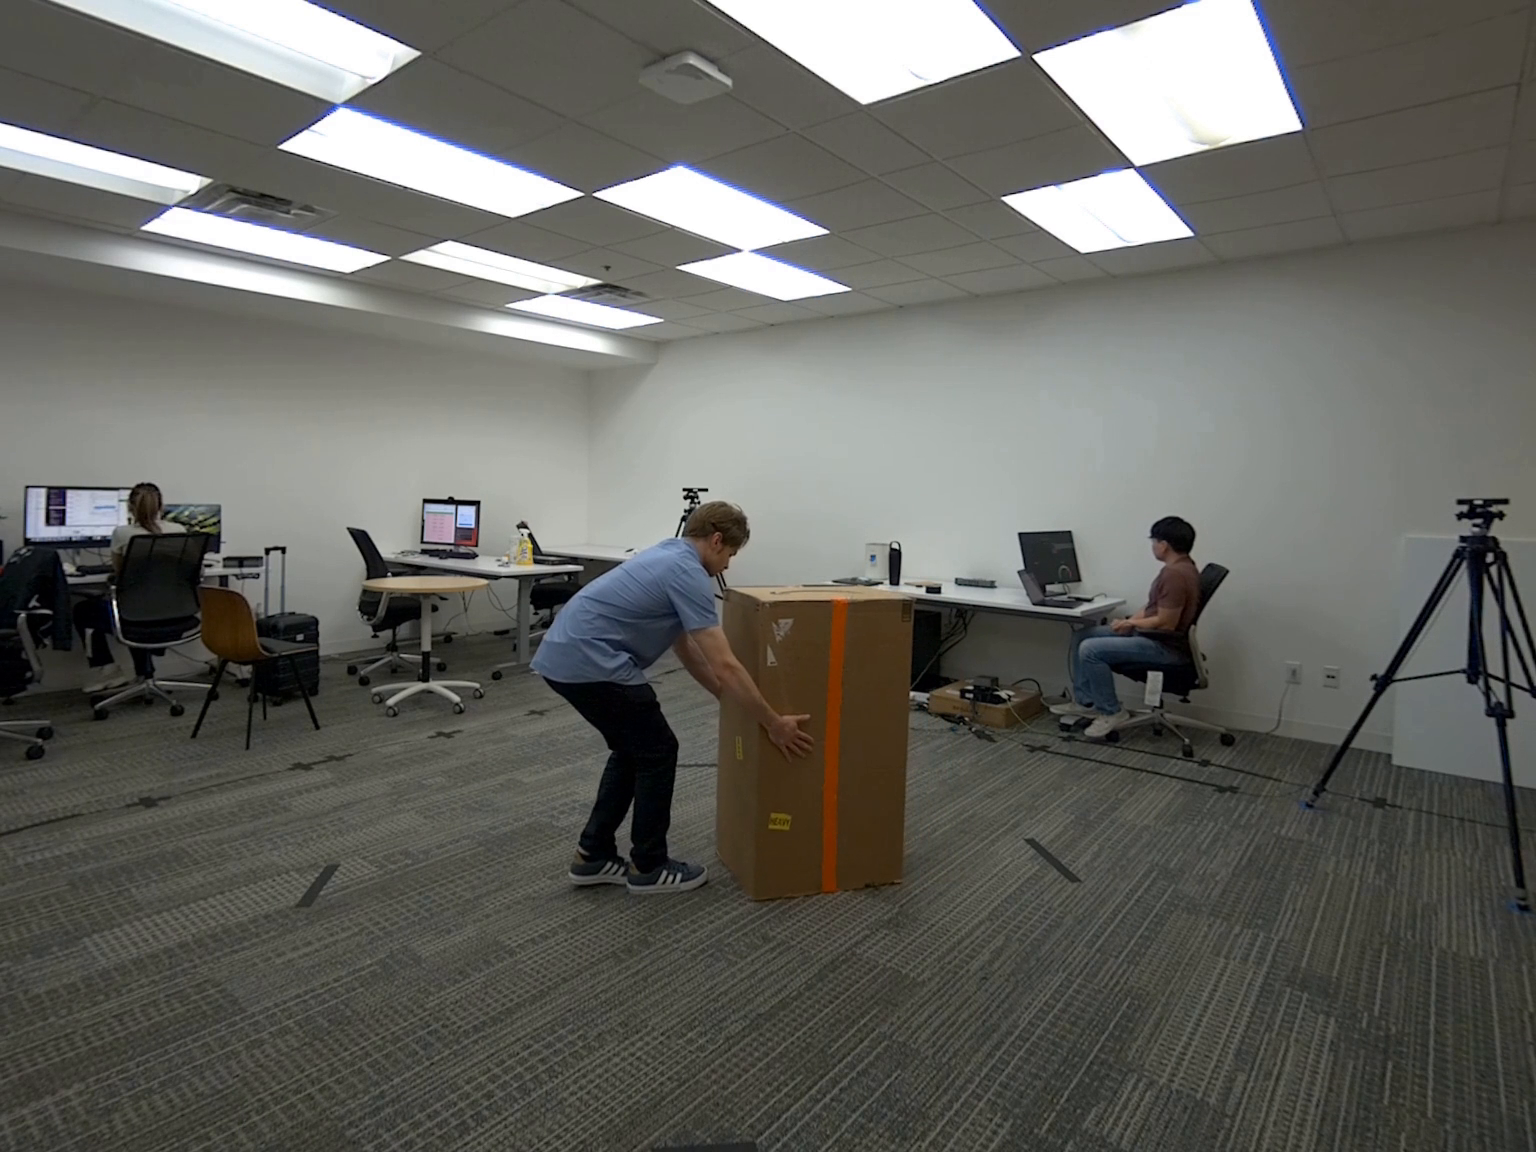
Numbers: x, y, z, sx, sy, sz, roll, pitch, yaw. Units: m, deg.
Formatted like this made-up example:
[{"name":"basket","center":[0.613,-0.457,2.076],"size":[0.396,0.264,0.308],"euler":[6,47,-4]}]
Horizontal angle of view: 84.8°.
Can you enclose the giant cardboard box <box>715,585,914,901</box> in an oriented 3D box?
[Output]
[{"name":"giant cardboard box","center":[0.149,0.570,3.120],"size":[0.567,1.023,0.435],"euler":[0,3,-19]}]
